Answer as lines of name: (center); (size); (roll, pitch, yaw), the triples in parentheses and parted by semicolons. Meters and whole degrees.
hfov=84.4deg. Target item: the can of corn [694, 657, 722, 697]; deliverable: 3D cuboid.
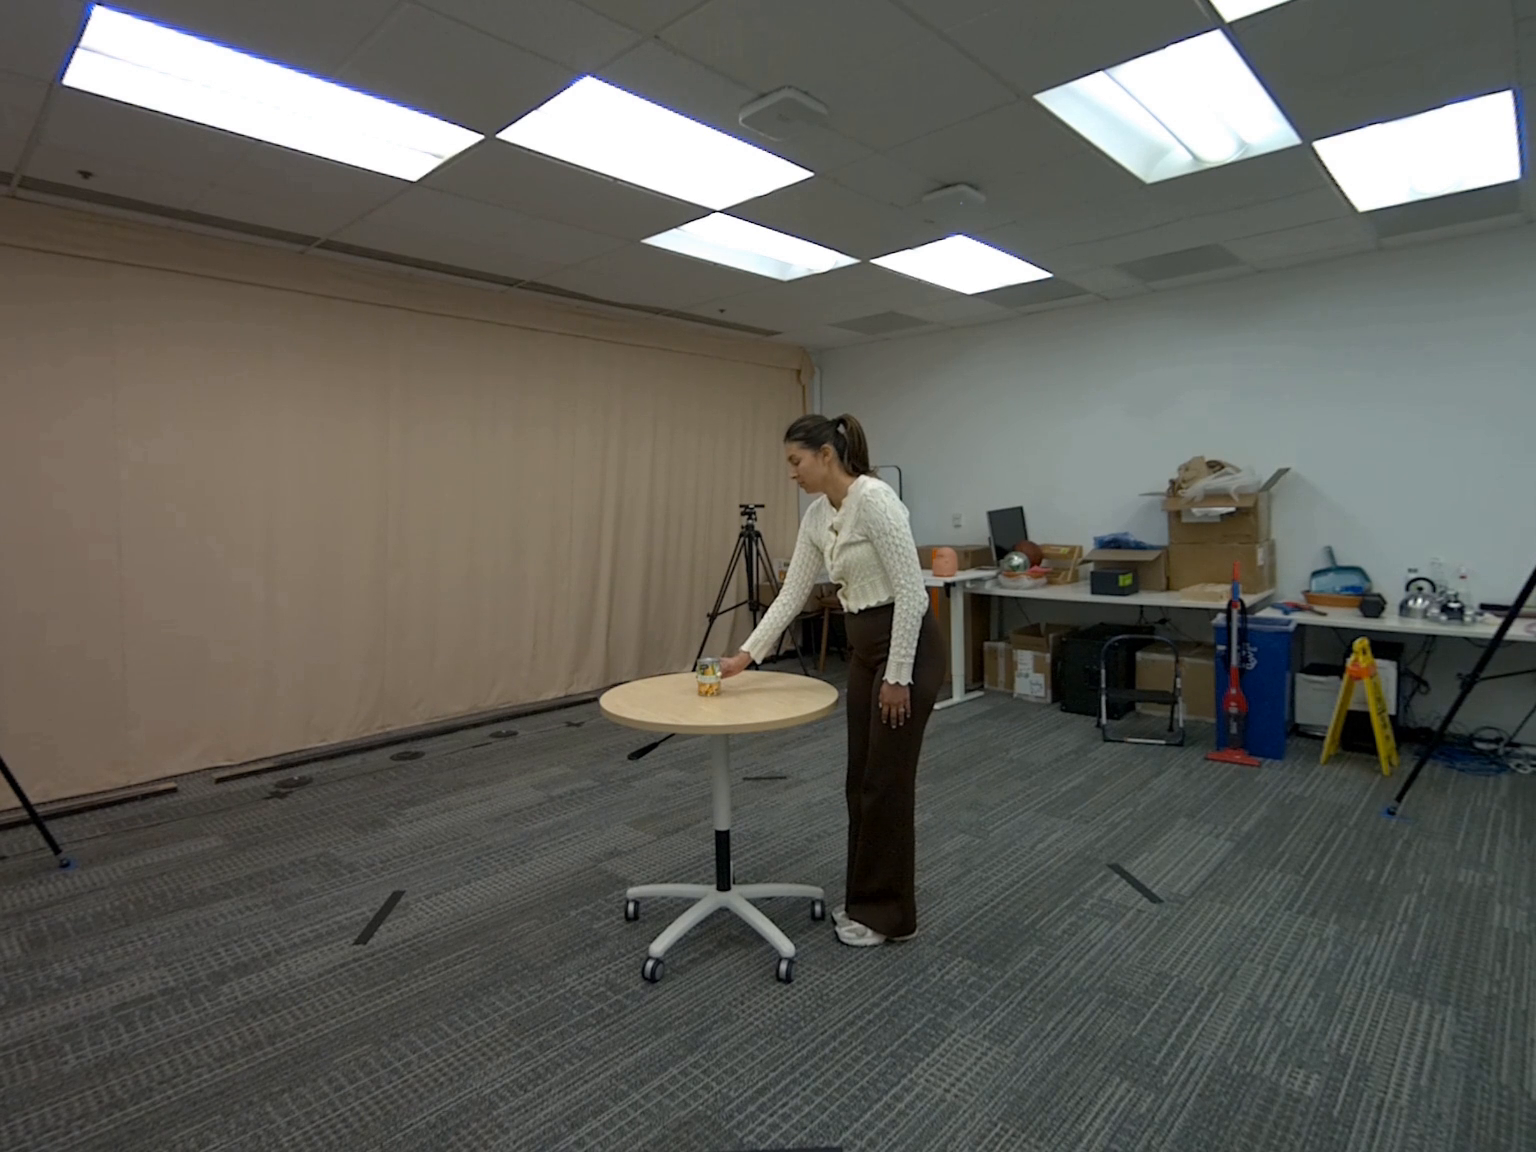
can of corn: (-0.189, 0.326, 2.714); (0.074, 0.111, 0.074); (-2, 3, -2)
